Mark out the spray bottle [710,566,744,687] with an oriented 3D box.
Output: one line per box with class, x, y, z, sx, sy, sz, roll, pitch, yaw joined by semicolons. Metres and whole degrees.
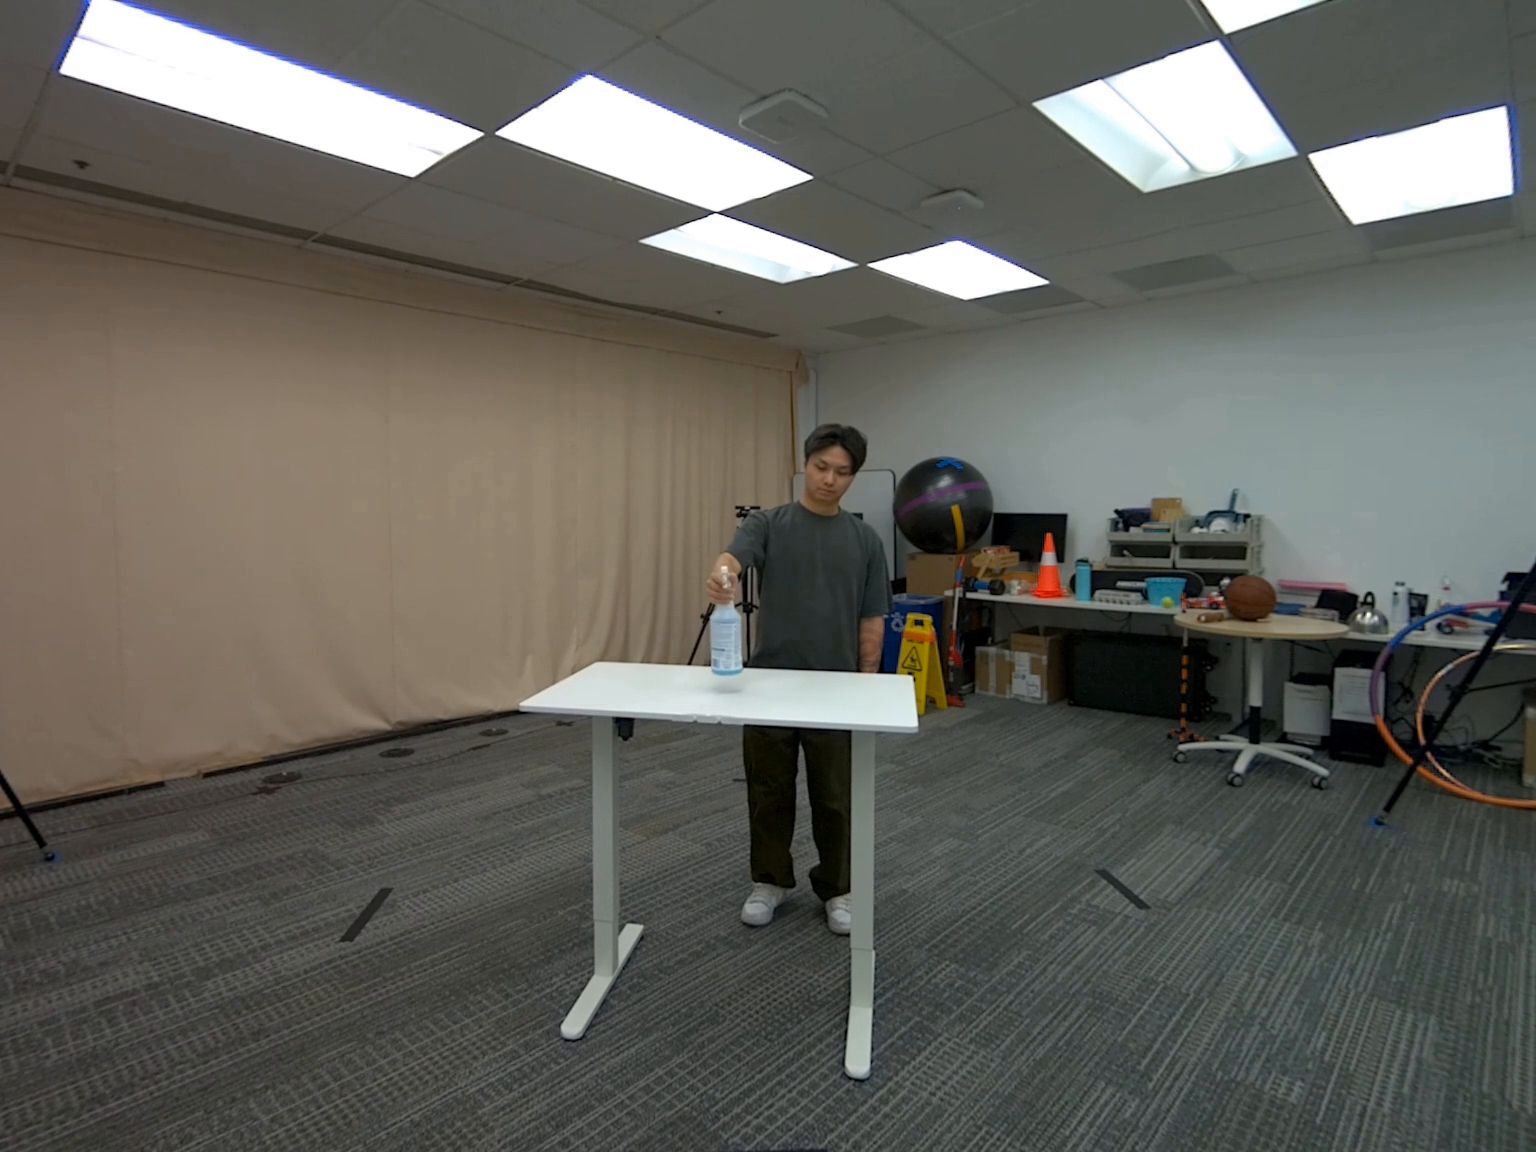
spray bottle;-0.114;0.121;2.299;0.089;0.296;0.088;1;6;24
